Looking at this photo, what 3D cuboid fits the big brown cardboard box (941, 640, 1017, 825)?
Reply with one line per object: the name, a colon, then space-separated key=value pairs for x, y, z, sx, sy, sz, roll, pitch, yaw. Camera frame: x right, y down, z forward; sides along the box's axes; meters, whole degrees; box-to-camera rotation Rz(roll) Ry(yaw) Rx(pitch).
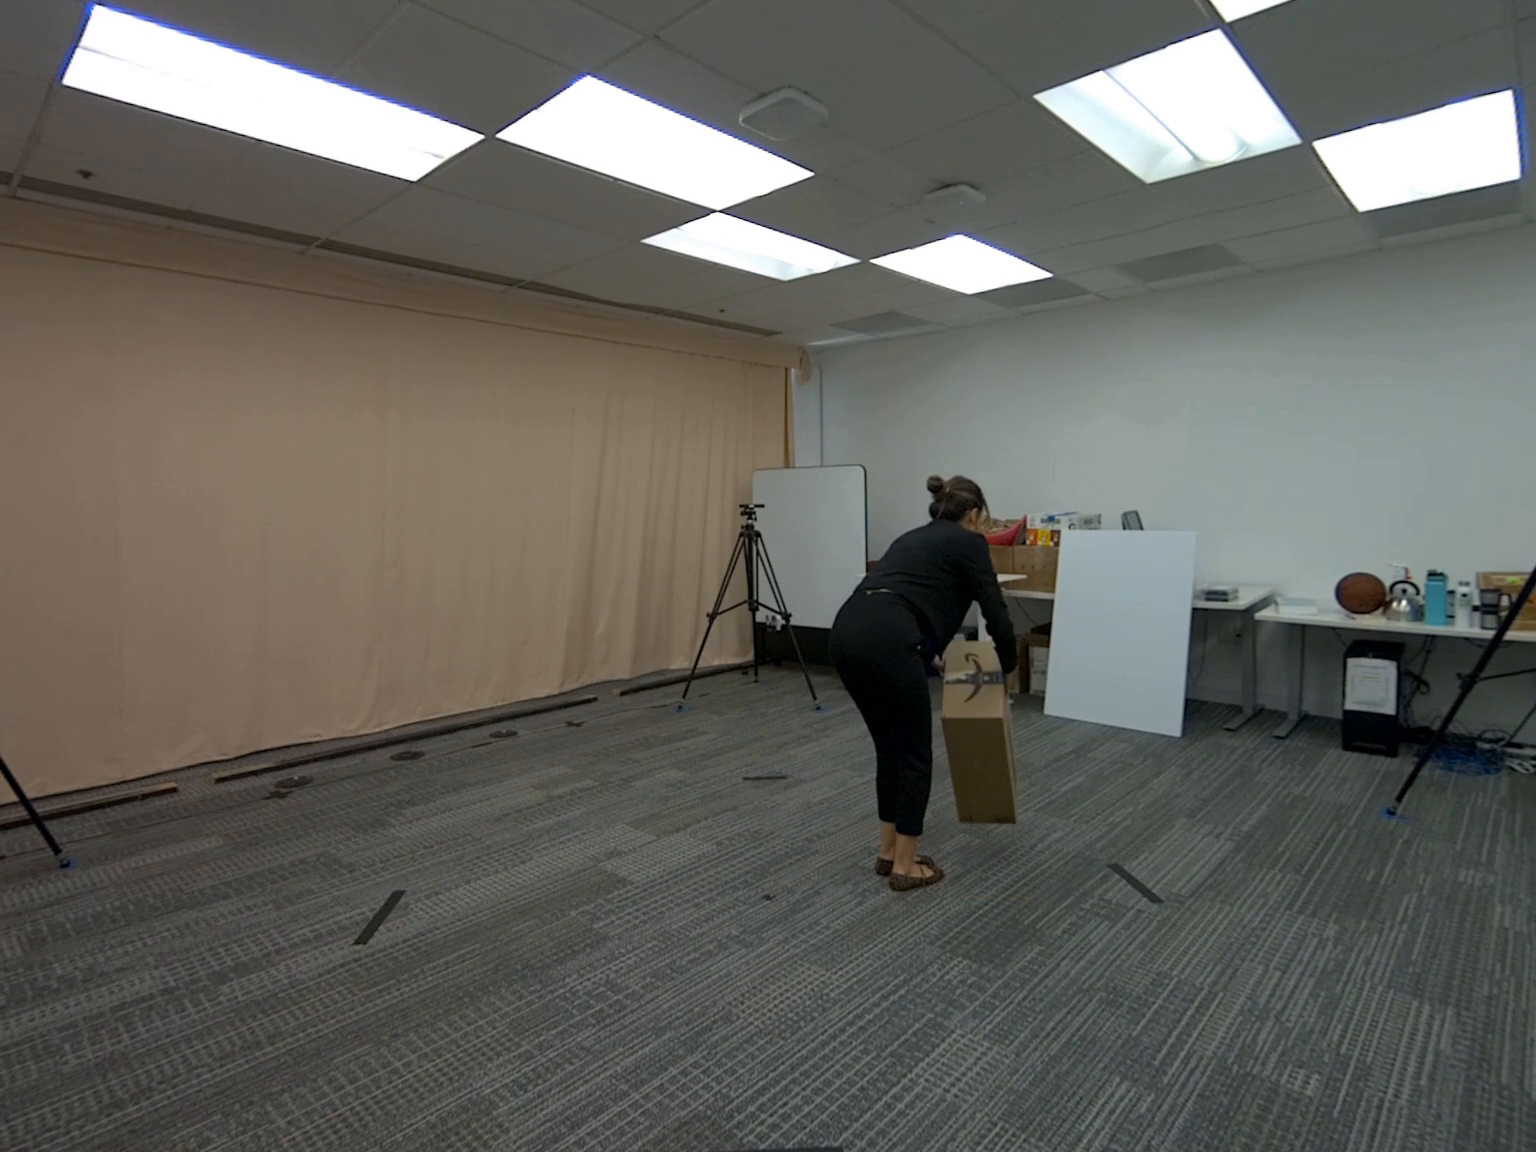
big brown cardboard box: x=0.828 y=0.603 z=3.275 sx=0.238 sy=0.575 sz=0.419 roll=-4 pitch=33 yaw=18
